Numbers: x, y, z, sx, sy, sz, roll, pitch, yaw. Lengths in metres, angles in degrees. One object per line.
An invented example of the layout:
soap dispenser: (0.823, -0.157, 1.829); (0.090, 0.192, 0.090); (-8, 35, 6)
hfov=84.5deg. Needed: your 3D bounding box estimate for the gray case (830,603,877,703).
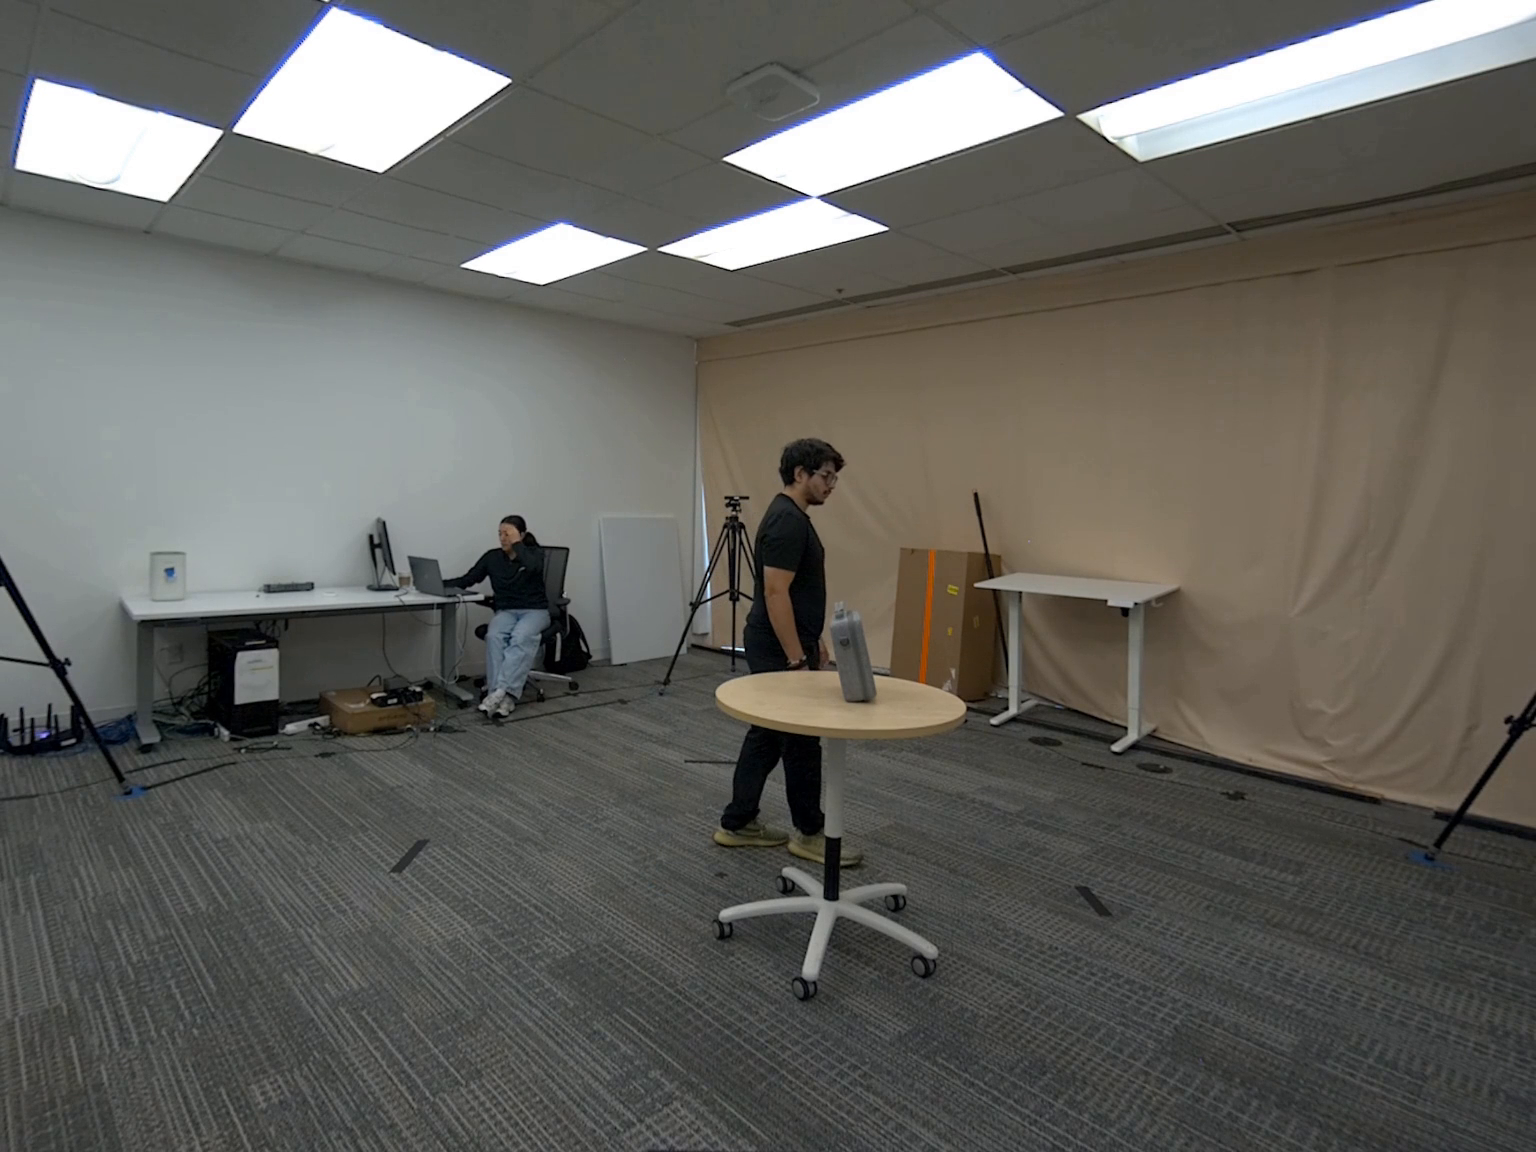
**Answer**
gray case: (0.261, 0.246, 2.635); (0.105, 0.260, 0.256); (-8, 1, 5)
